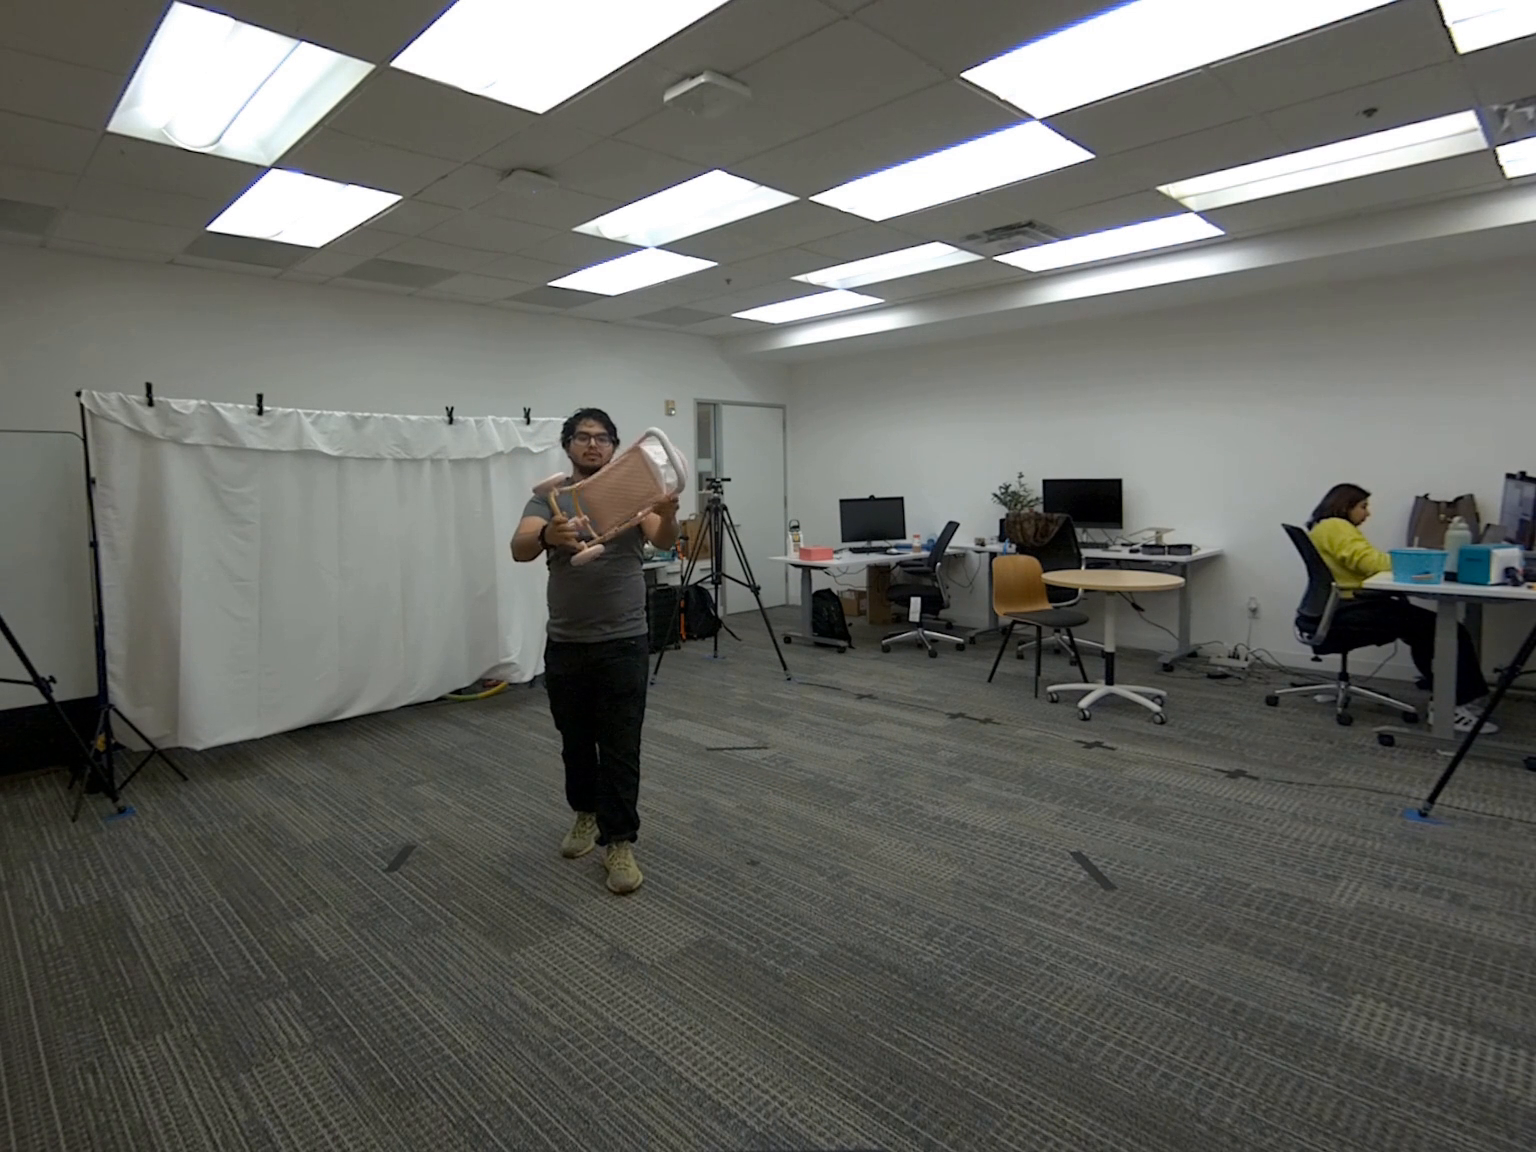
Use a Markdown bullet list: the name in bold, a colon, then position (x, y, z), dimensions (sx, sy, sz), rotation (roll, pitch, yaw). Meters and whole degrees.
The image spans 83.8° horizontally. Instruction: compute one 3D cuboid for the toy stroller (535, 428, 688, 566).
- **toy stroller**: position (-0.460, -0.256, 2.686), dimensions (0.537, 0.283, 0.338), rotation (-30, -2, 13)
